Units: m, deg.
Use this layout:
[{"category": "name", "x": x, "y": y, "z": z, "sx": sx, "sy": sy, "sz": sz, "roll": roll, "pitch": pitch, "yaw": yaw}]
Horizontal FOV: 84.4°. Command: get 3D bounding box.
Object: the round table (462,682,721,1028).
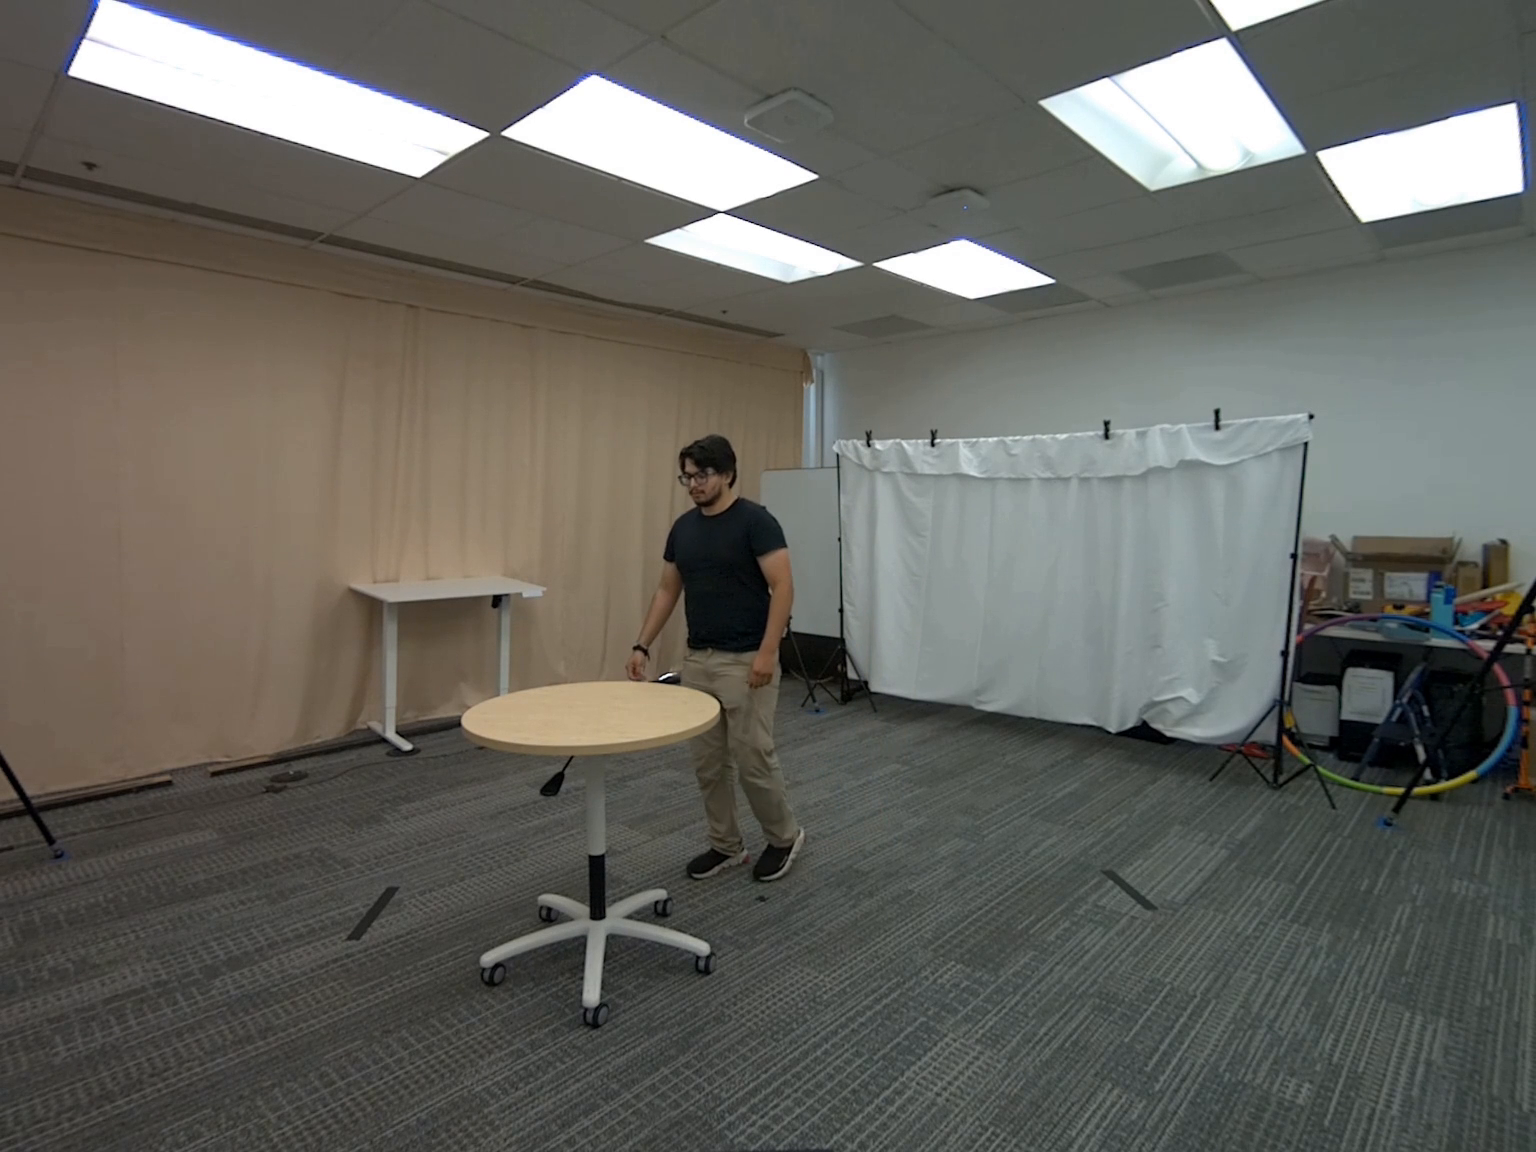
[{"category": "round table", "x": -0.503, "y": 0.789, "z": 2.552, "sx": 0.784, "sy": 0.785, "sz": 0.788, "roll": -1, "pitch": 4, "yaw": -2}]
